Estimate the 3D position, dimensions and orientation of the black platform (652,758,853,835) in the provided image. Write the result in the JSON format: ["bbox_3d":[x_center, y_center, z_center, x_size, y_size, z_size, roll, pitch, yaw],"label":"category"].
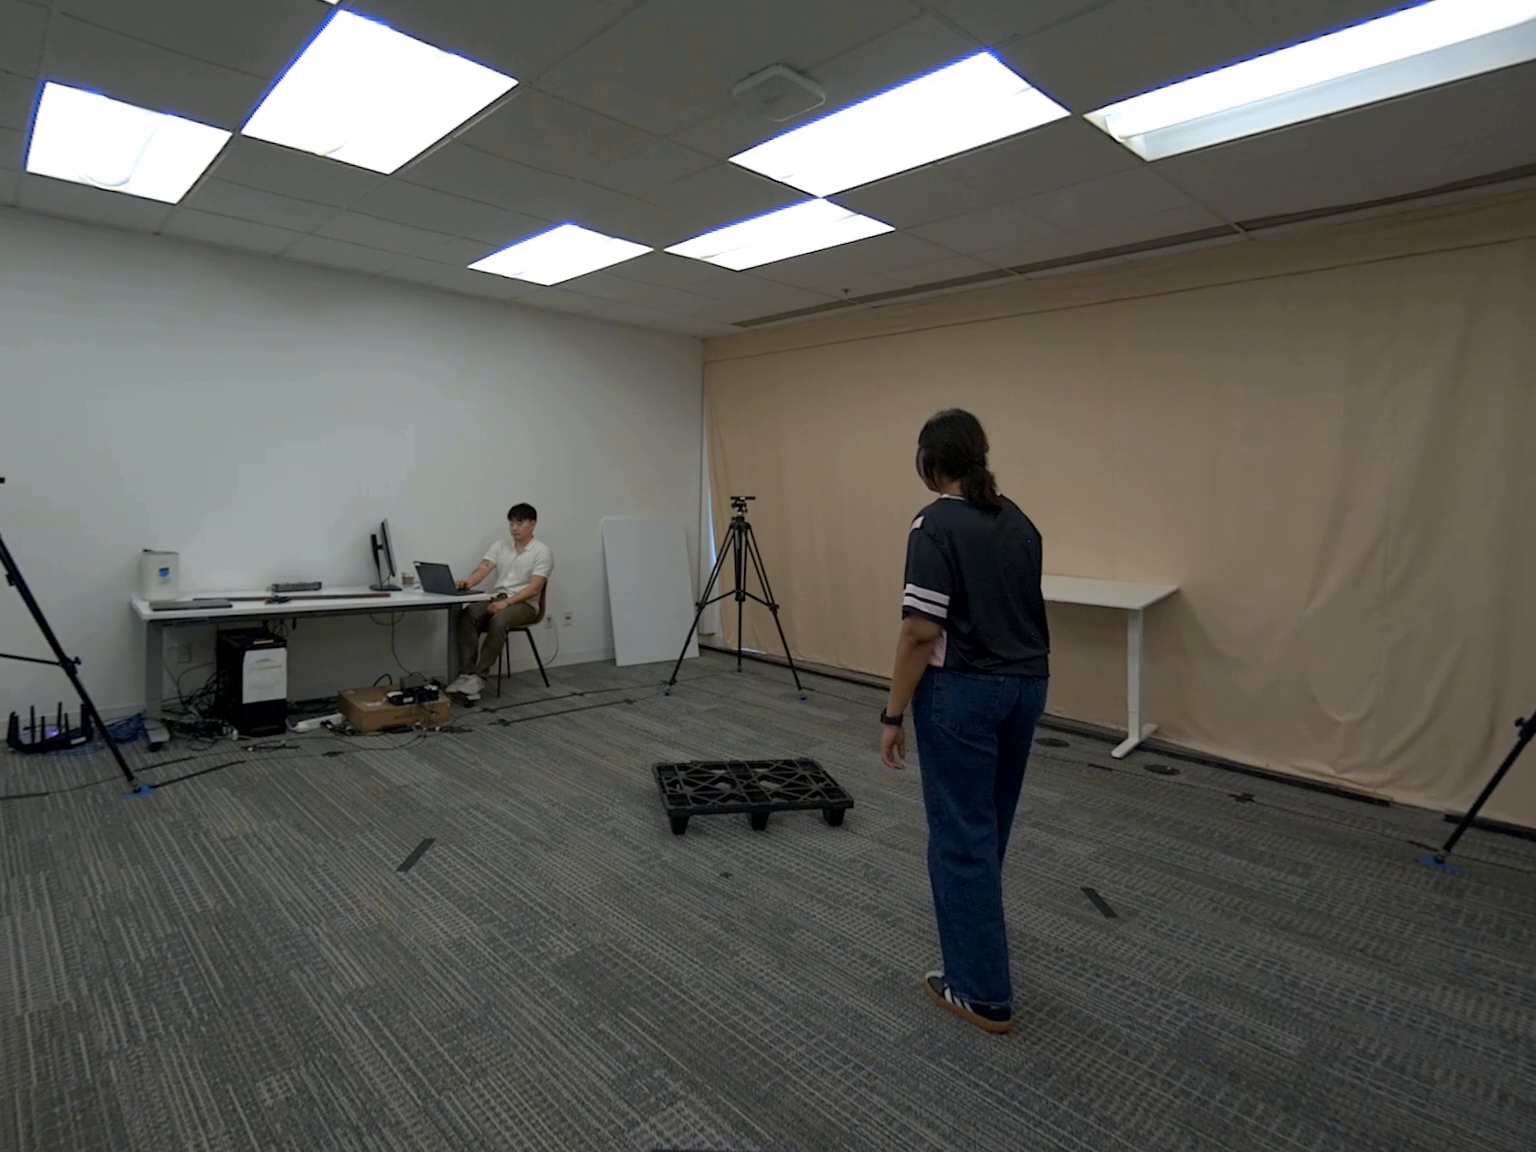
[{"bbox_3d":[-0.095,0.981,3.762,0.798,0.143,0.613,0,6,-12],"label":"black platform"}]
